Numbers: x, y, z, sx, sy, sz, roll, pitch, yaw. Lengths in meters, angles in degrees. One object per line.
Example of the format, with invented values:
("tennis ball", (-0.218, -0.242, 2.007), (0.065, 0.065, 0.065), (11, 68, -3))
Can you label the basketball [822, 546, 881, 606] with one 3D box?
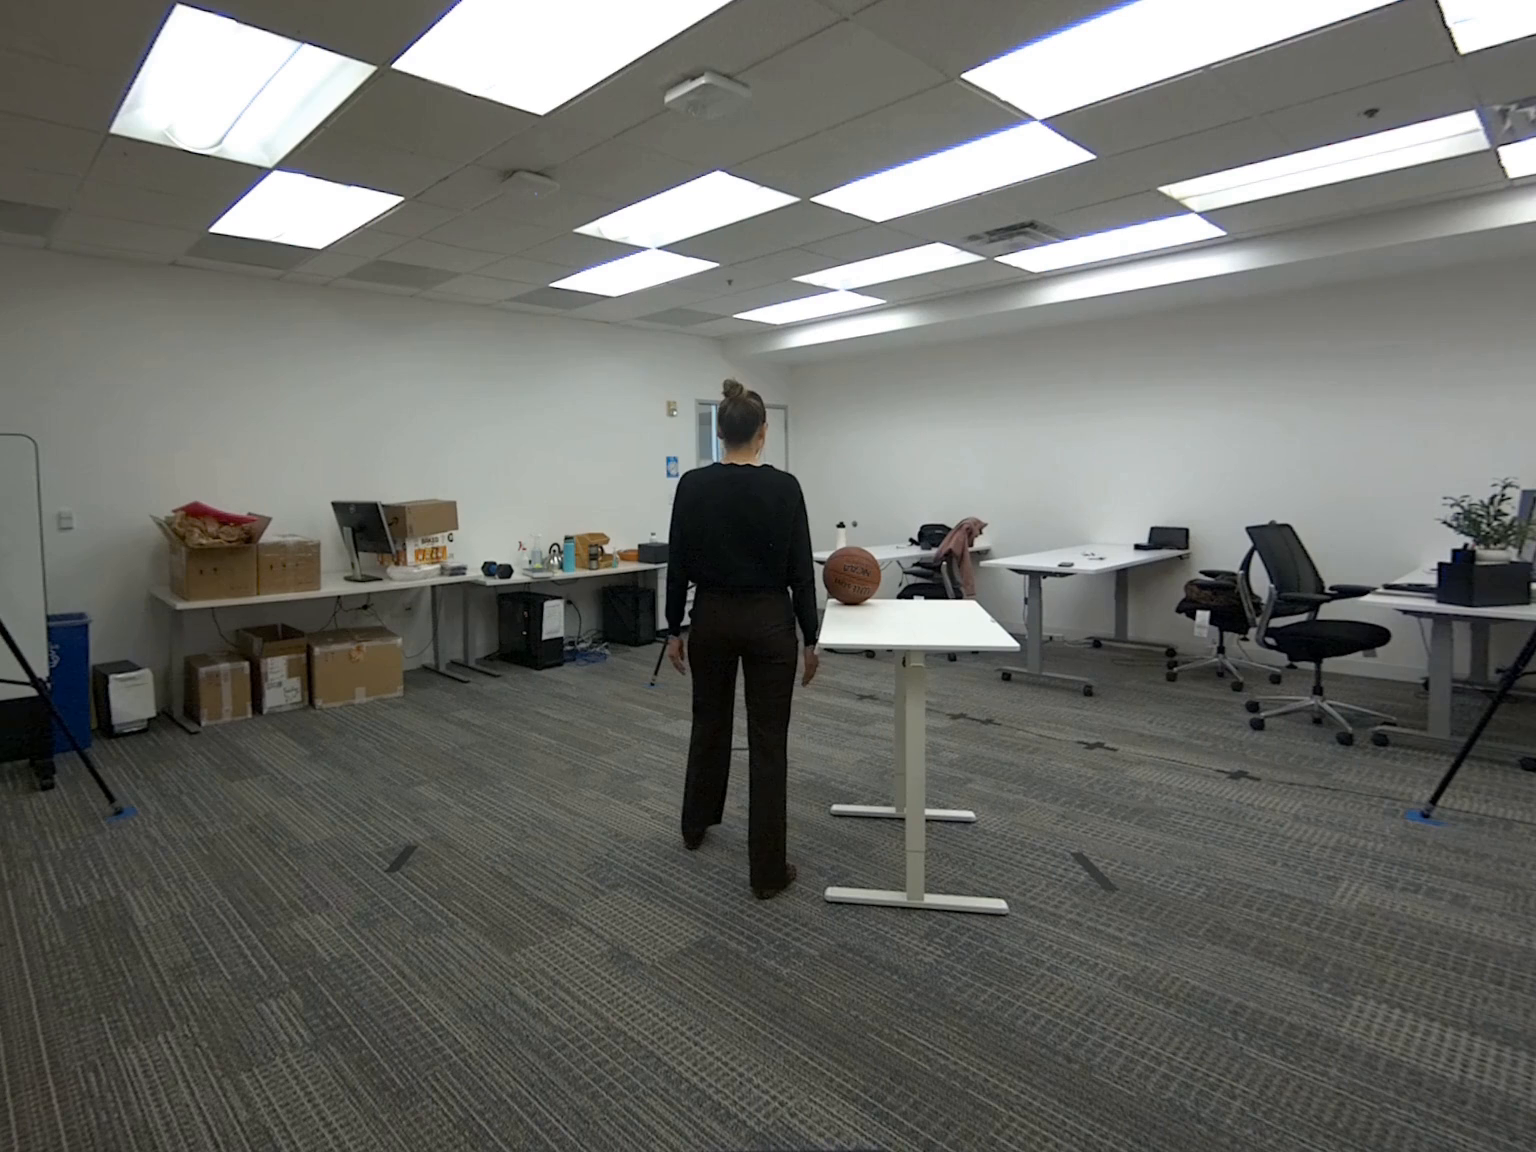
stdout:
("basketball", (0.336, -0.003, 3.484), (0.236, 0.235, 0.237), (-1, 5, -2))
